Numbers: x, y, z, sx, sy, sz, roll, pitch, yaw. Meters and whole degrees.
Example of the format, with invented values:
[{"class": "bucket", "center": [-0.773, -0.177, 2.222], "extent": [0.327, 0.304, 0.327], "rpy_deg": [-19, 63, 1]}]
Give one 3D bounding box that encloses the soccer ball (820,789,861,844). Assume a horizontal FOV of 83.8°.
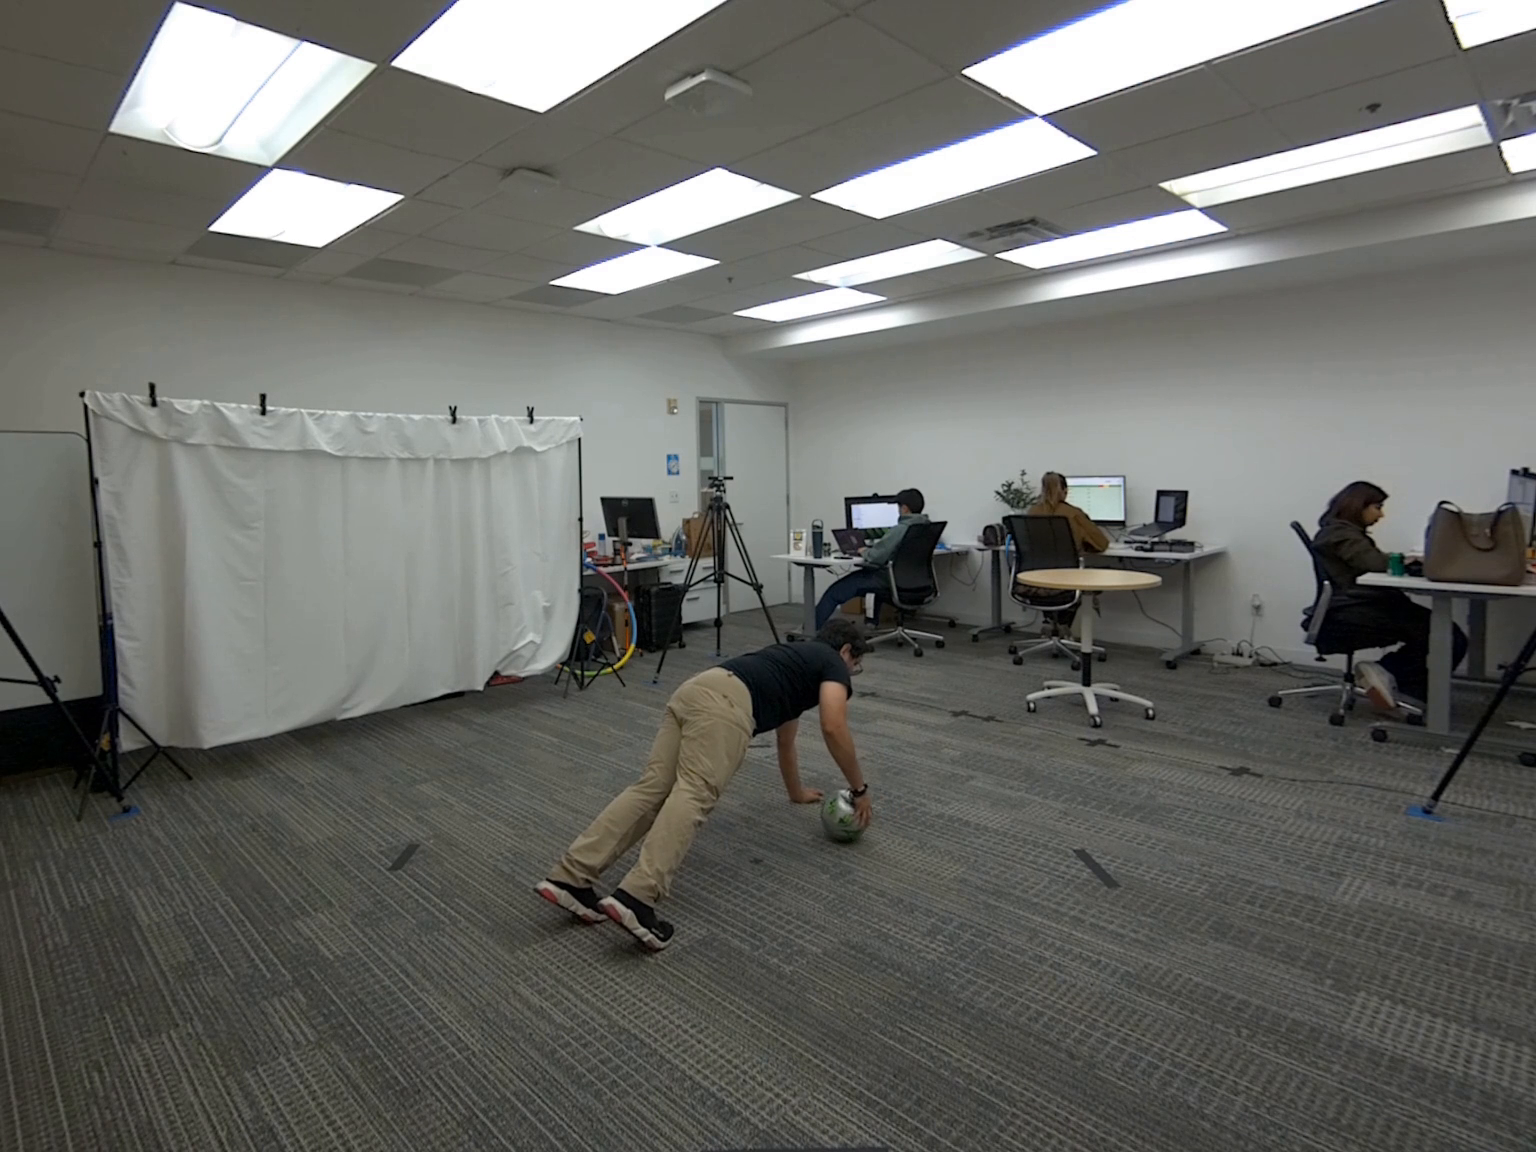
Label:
[{"class": "soccer ball", "center": [0.295, 0.911, 3.286], "extent": [0.187, 0.187, 0.188], "rpy_deg": [-1, 5, -2]}]
